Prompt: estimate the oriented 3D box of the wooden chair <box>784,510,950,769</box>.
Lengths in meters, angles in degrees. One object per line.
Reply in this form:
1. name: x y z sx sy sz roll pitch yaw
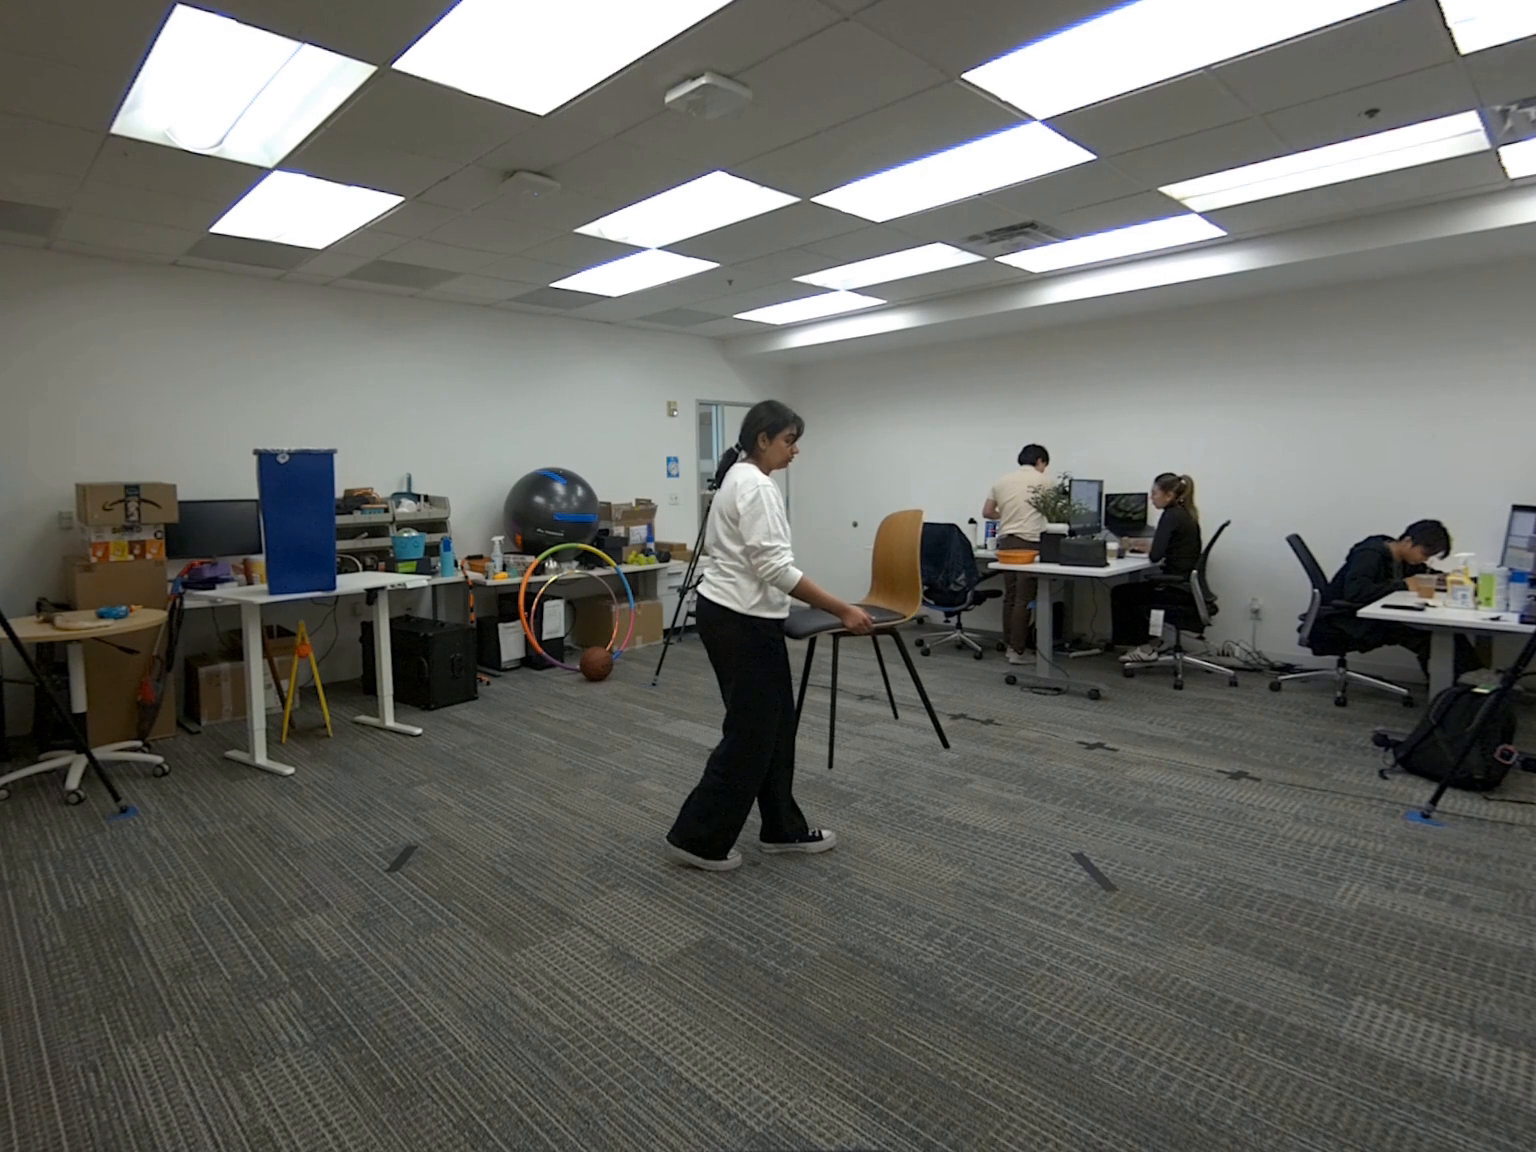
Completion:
1. wooden chair: 0.321 0.202 3.152 0.516 0.874 0.486 -3 4 -15
